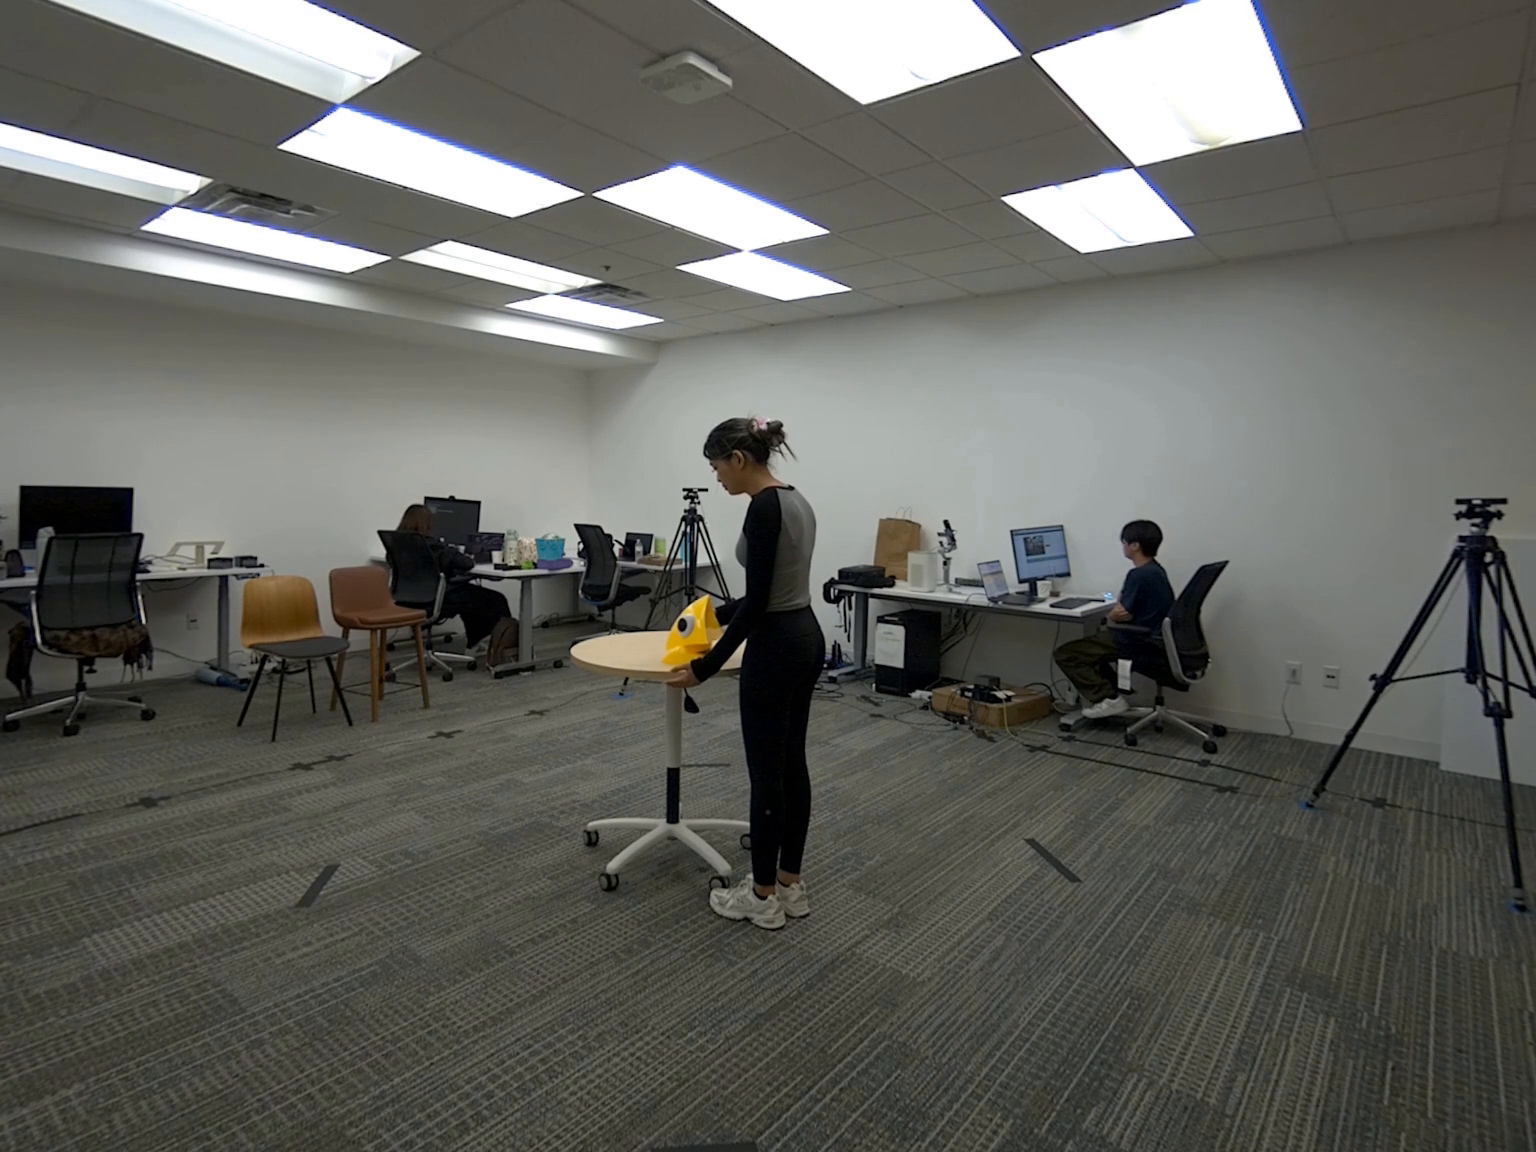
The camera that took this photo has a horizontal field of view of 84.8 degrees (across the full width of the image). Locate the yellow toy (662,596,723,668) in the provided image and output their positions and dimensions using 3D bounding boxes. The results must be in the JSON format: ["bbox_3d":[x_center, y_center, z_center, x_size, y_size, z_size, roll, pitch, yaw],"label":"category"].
[{"bbox_3d":[-0.275,0.175,2.964,0.196,0.230,0.202,4,3,14],"label":"yellow toy"}]
